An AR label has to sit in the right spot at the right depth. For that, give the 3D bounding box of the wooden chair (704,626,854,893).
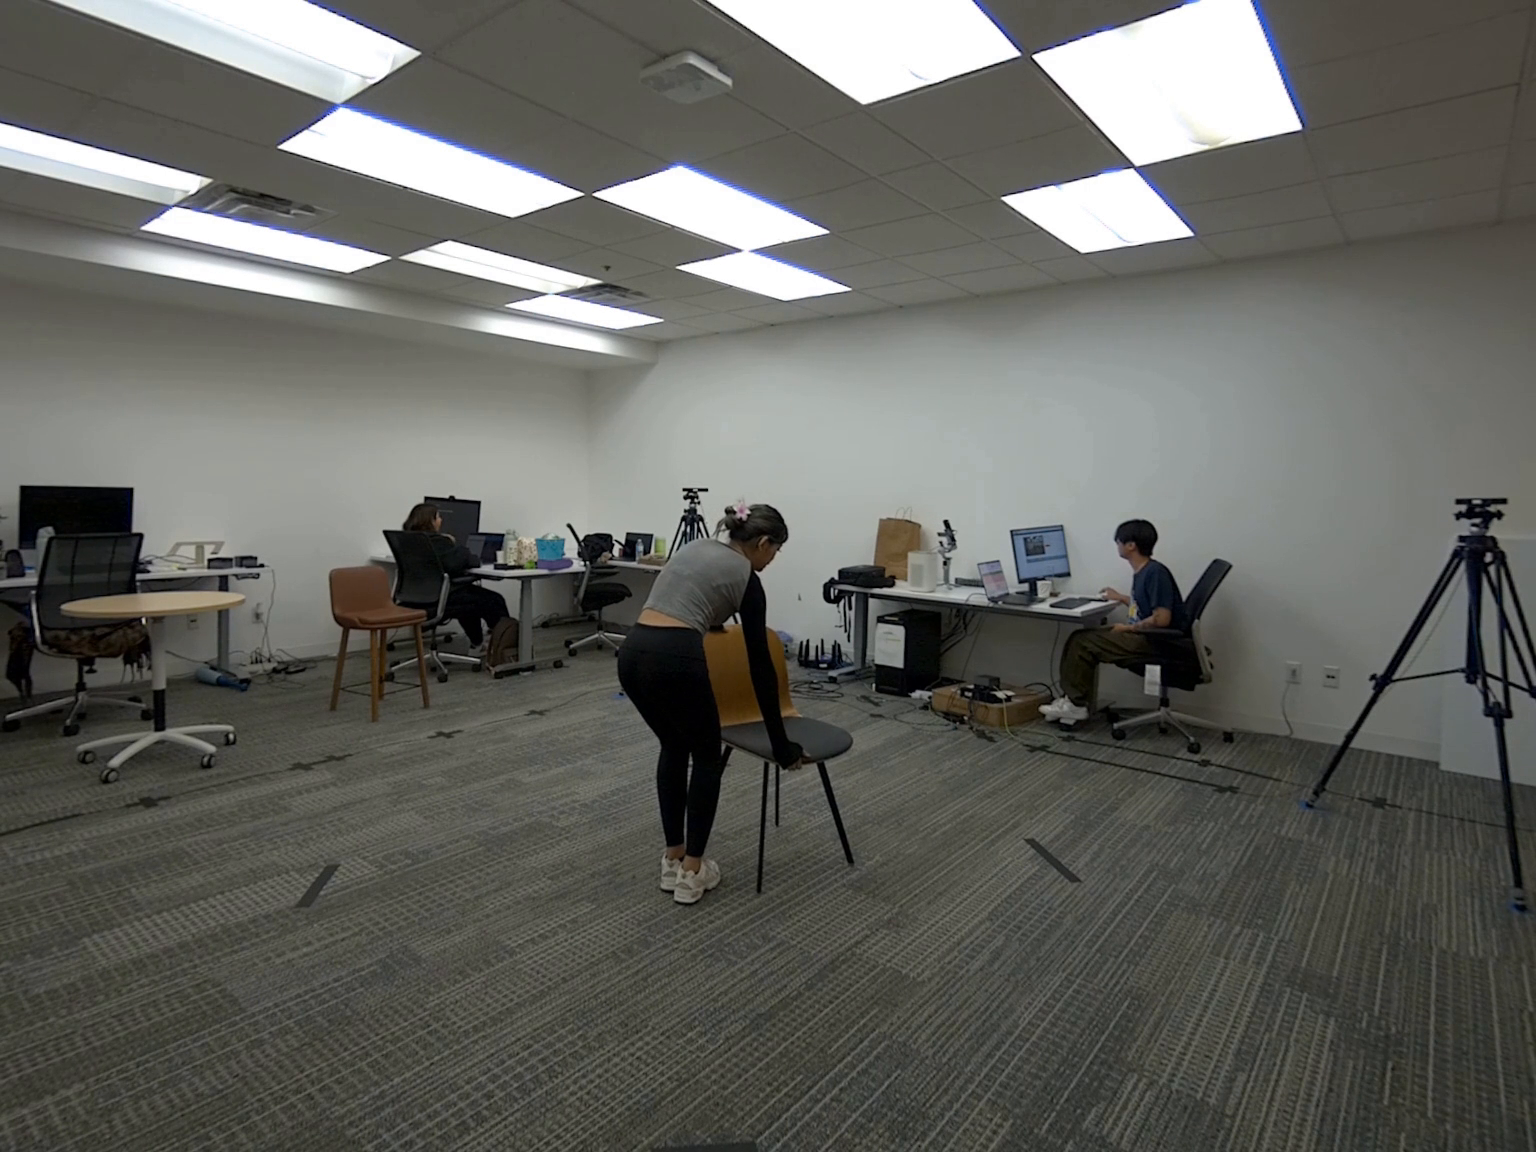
[{"bbox_3d":[0.016,0.634,3.202,0.464,0.878,0.539,0,-1,-37],"label":"wooden chair"}]
